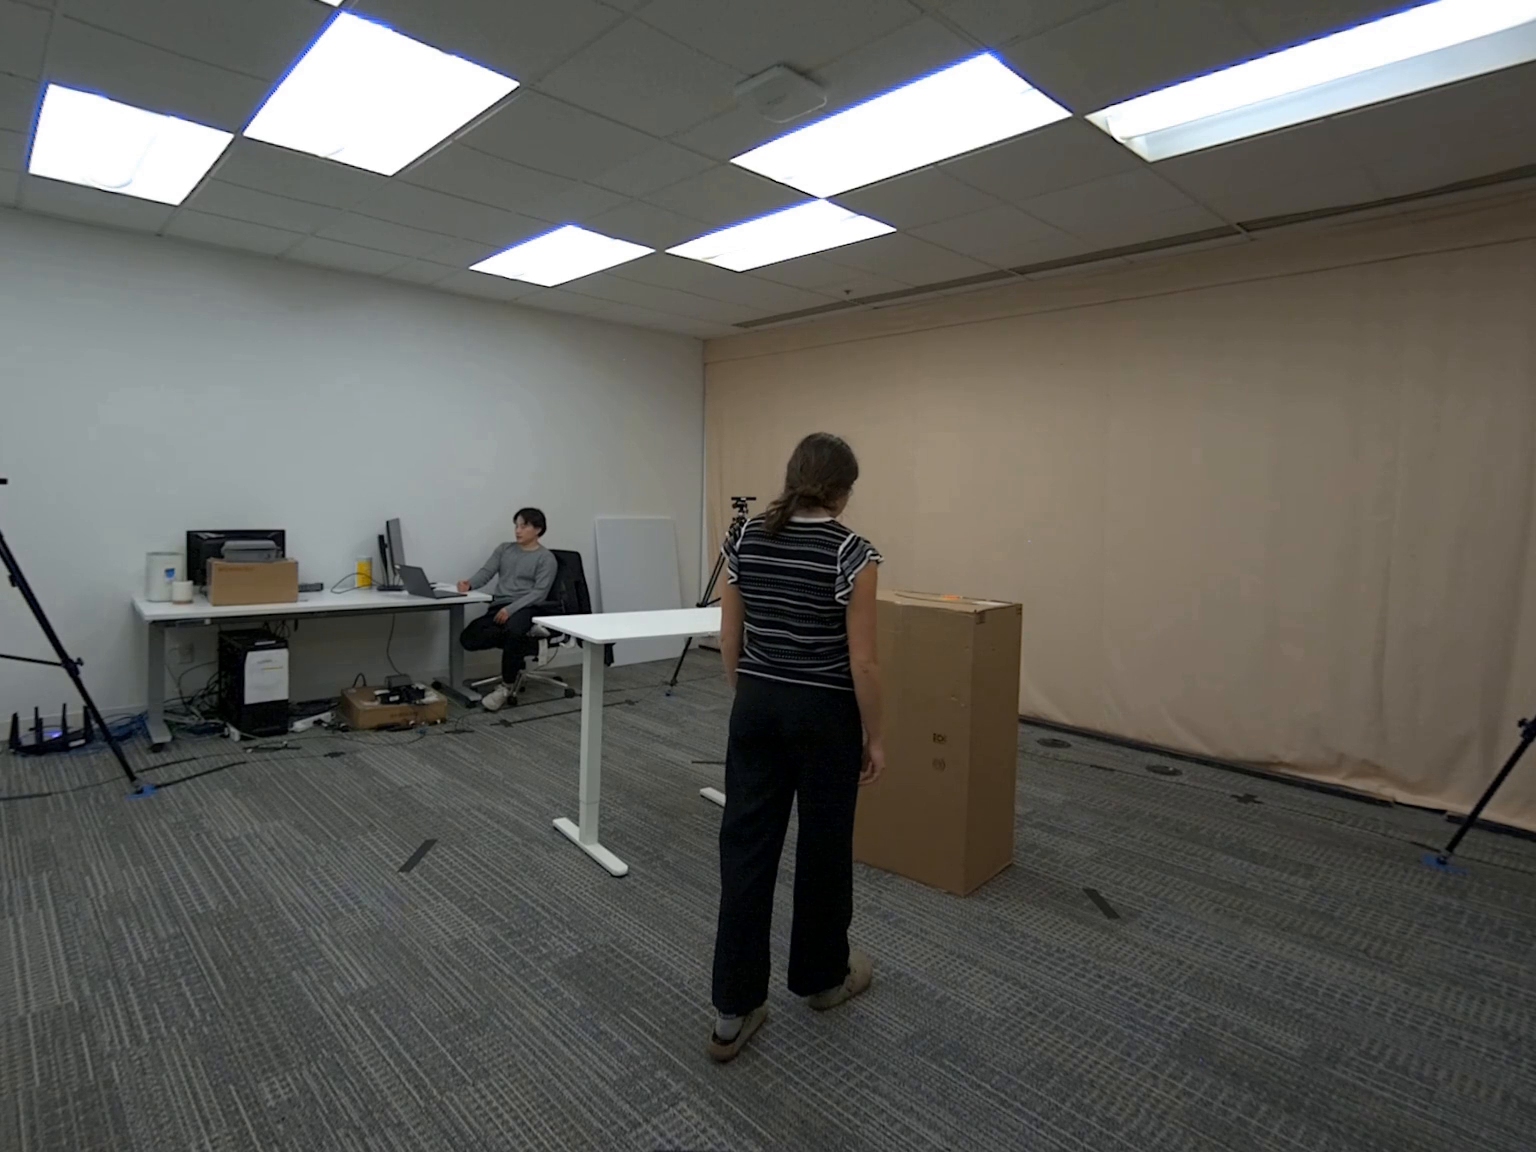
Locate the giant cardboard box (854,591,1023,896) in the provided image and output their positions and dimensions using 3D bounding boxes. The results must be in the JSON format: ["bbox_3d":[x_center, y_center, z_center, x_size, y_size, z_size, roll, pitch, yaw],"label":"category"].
[{"bbox_3d":[0.612,0.600,3.294,0.592,1.024,0.416,4,4,40],"label":"giant cardboard box"}]
